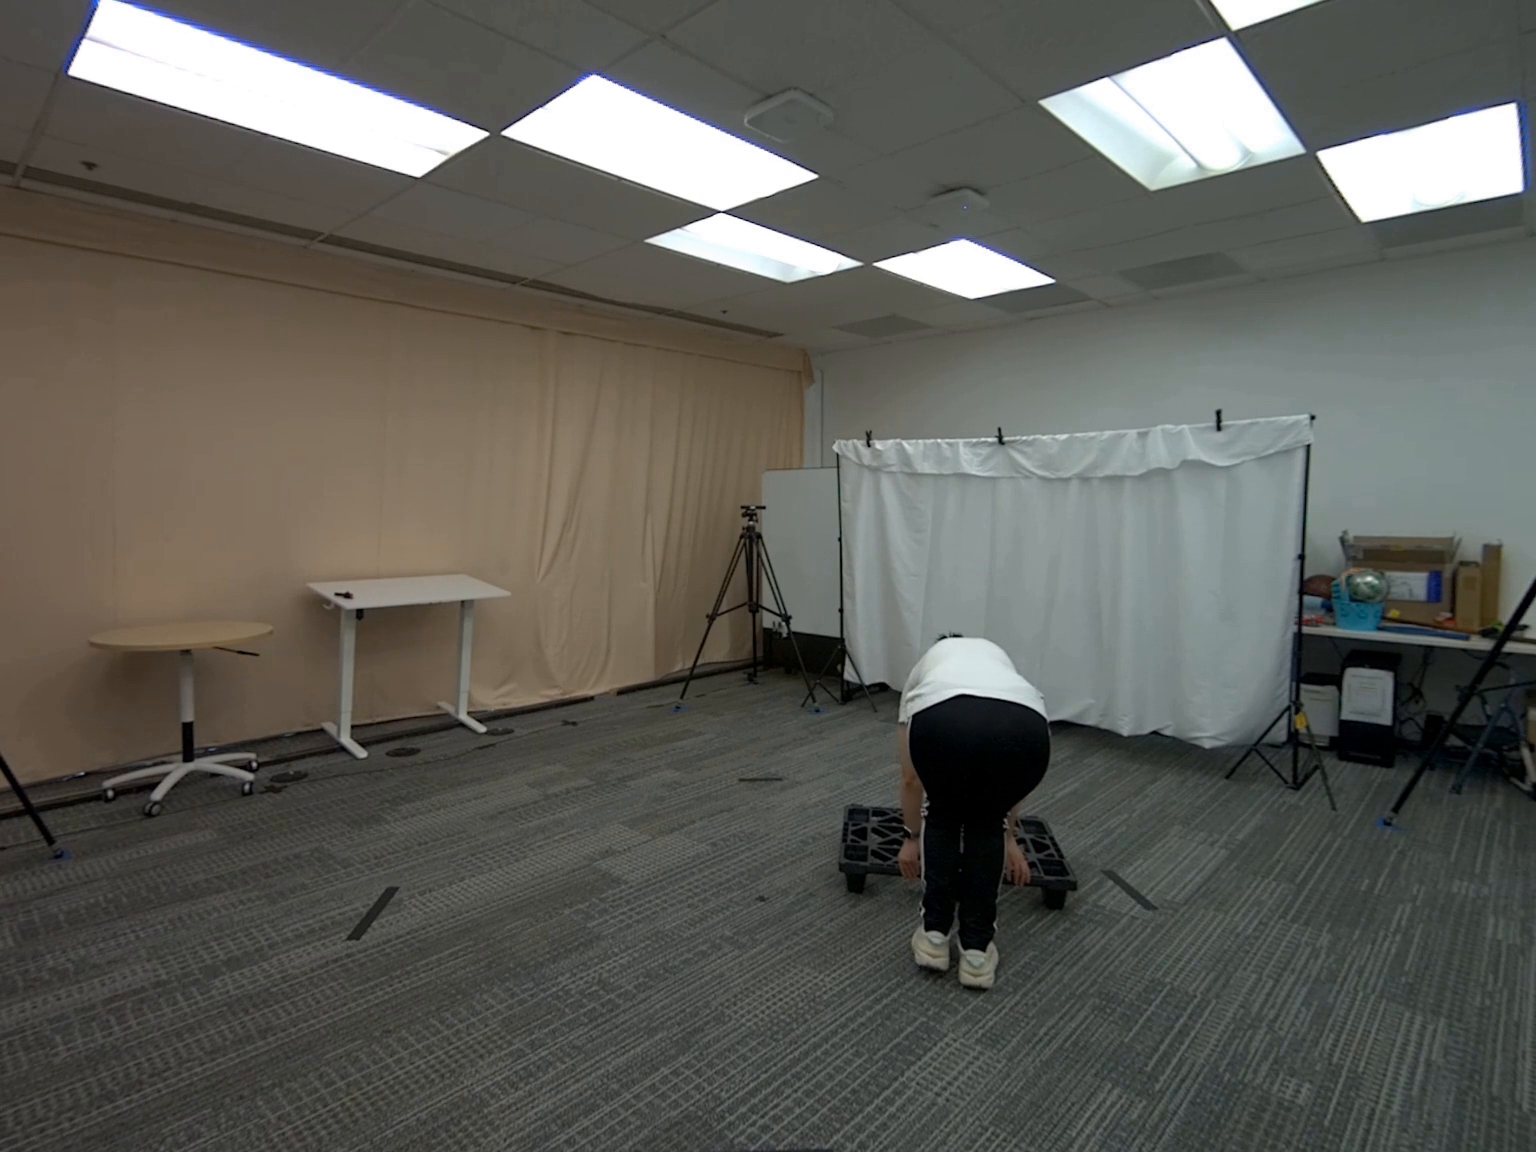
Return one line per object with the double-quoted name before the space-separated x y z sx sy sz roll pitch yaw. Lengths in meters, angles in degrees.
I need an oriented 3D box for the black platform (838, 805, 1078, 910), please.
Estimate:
"black platform" 0.680 1.055 3.187 0.815 0.143 0.599 1 4 10
